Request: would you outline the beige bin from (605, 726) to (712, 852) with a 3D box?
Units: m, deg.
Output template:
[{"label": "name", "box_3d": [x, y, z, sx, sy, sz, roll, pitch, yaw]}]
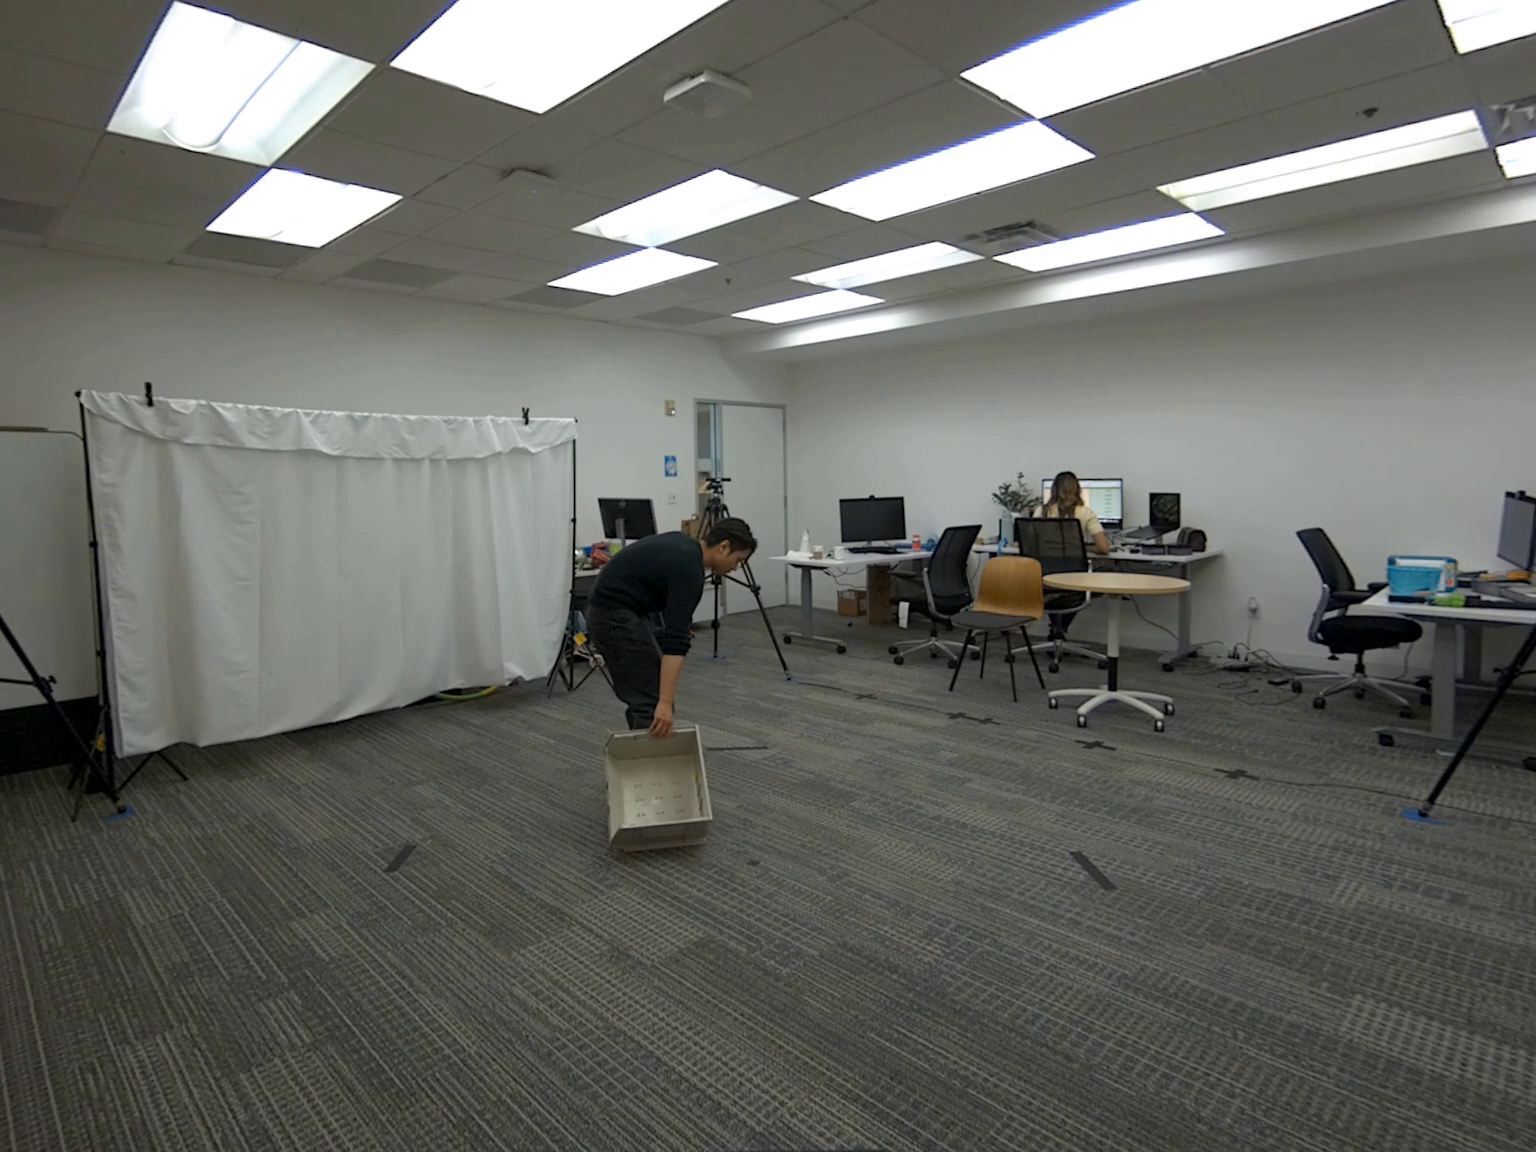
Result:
[{"label": "beige bin", "box_3d": [-0.436, 0.826, 3.327, 0.373, 0.185, 0.436, -2, 42, -12]}]
